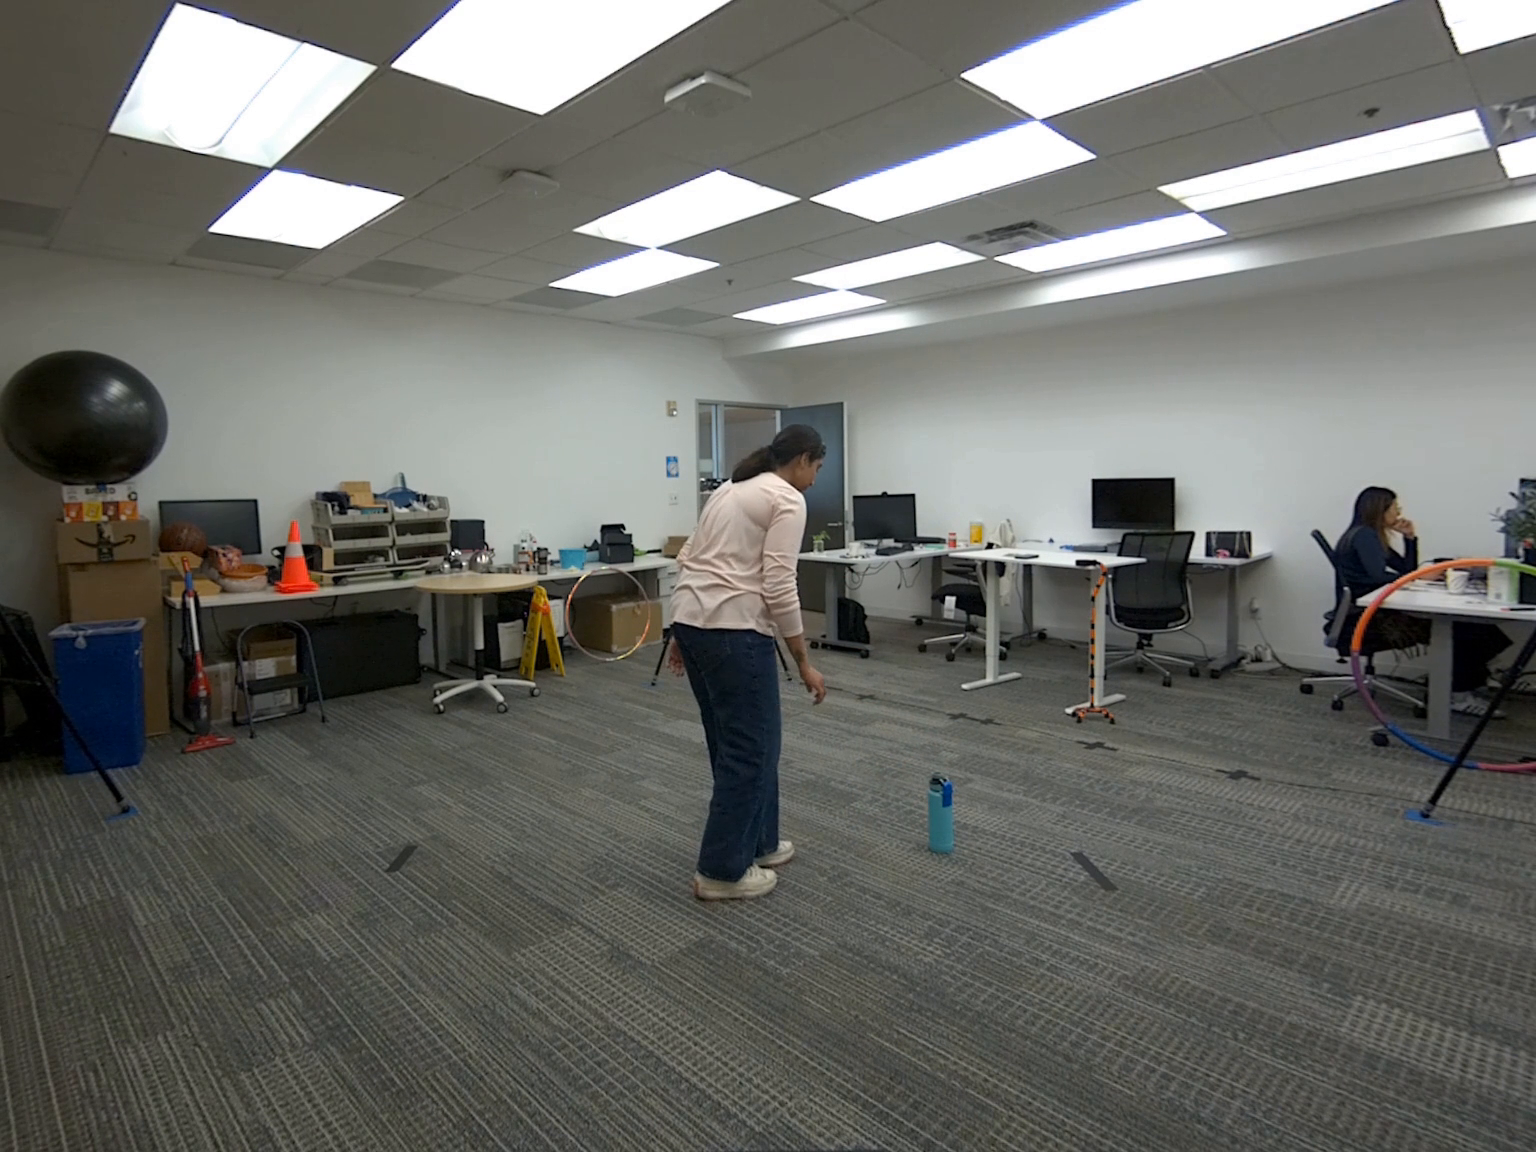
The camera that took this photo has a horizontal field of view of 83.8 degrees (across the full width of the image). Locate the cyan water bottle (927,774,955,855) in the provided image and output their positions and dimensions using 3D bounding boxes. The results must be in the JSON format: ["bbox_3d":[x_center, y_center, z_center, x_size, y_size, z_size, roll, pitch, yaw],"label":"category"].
[{"bbox_3d":[0.651,0.882,3.194,0.092,0.282,0.093,0,4,-2],"label":"cyan water bottle"}]
